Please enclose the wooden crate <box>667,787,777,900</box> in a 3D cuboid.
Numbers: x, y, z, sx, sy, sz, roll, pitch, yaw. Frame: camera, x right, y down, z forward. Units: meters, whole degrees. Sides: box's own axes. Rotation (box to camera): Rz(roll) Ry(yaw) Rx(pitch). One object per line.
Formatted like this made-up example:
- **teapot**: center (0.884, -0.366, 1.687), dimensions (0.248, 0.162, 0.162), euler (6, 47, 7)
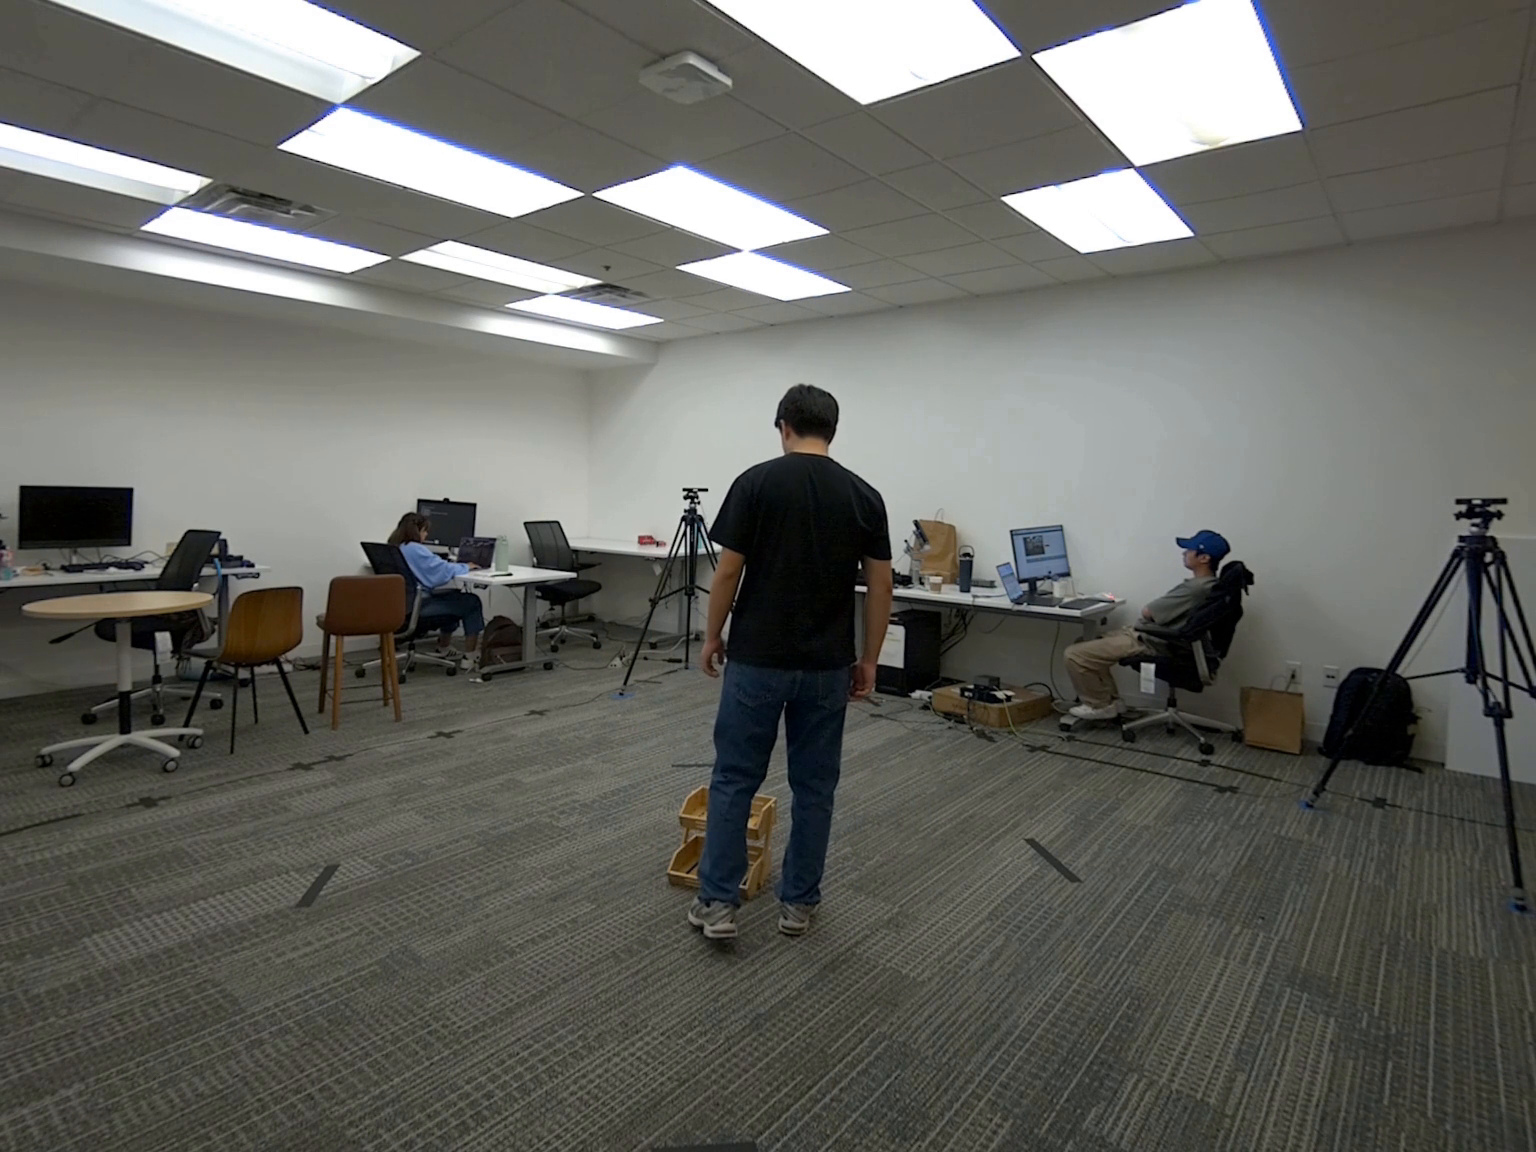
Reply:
- **wooden crate**: center (-0.169, 0.943, 3.048), dimensions (0.332, 0.272, 0.296), euler (3, 4, 20)
